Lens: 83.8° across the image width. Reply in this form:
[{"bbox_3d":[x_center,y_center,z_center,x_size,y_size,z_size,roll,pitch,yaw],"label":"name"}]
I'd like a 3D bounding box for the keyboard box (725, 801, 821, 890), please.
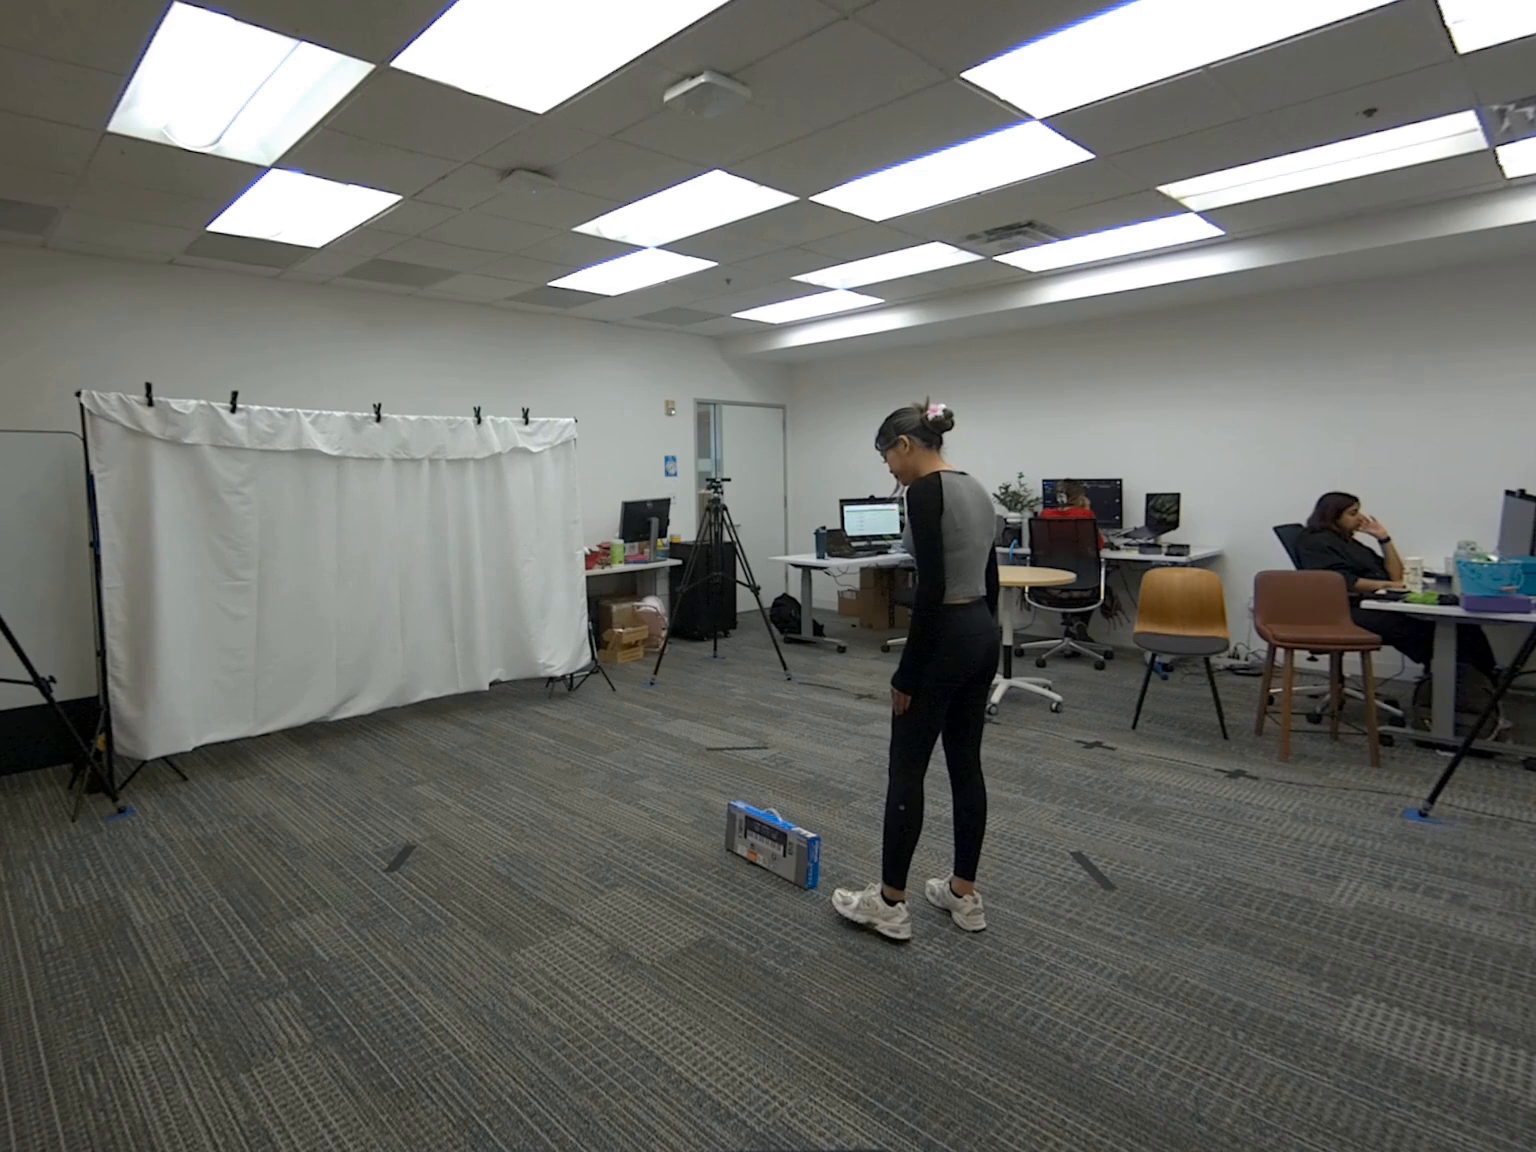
[{"bbox_3d":[0.011,0.960,3.070,0.057,0.176,0.450,4,2,-41],"label":"keyboard box"}]
